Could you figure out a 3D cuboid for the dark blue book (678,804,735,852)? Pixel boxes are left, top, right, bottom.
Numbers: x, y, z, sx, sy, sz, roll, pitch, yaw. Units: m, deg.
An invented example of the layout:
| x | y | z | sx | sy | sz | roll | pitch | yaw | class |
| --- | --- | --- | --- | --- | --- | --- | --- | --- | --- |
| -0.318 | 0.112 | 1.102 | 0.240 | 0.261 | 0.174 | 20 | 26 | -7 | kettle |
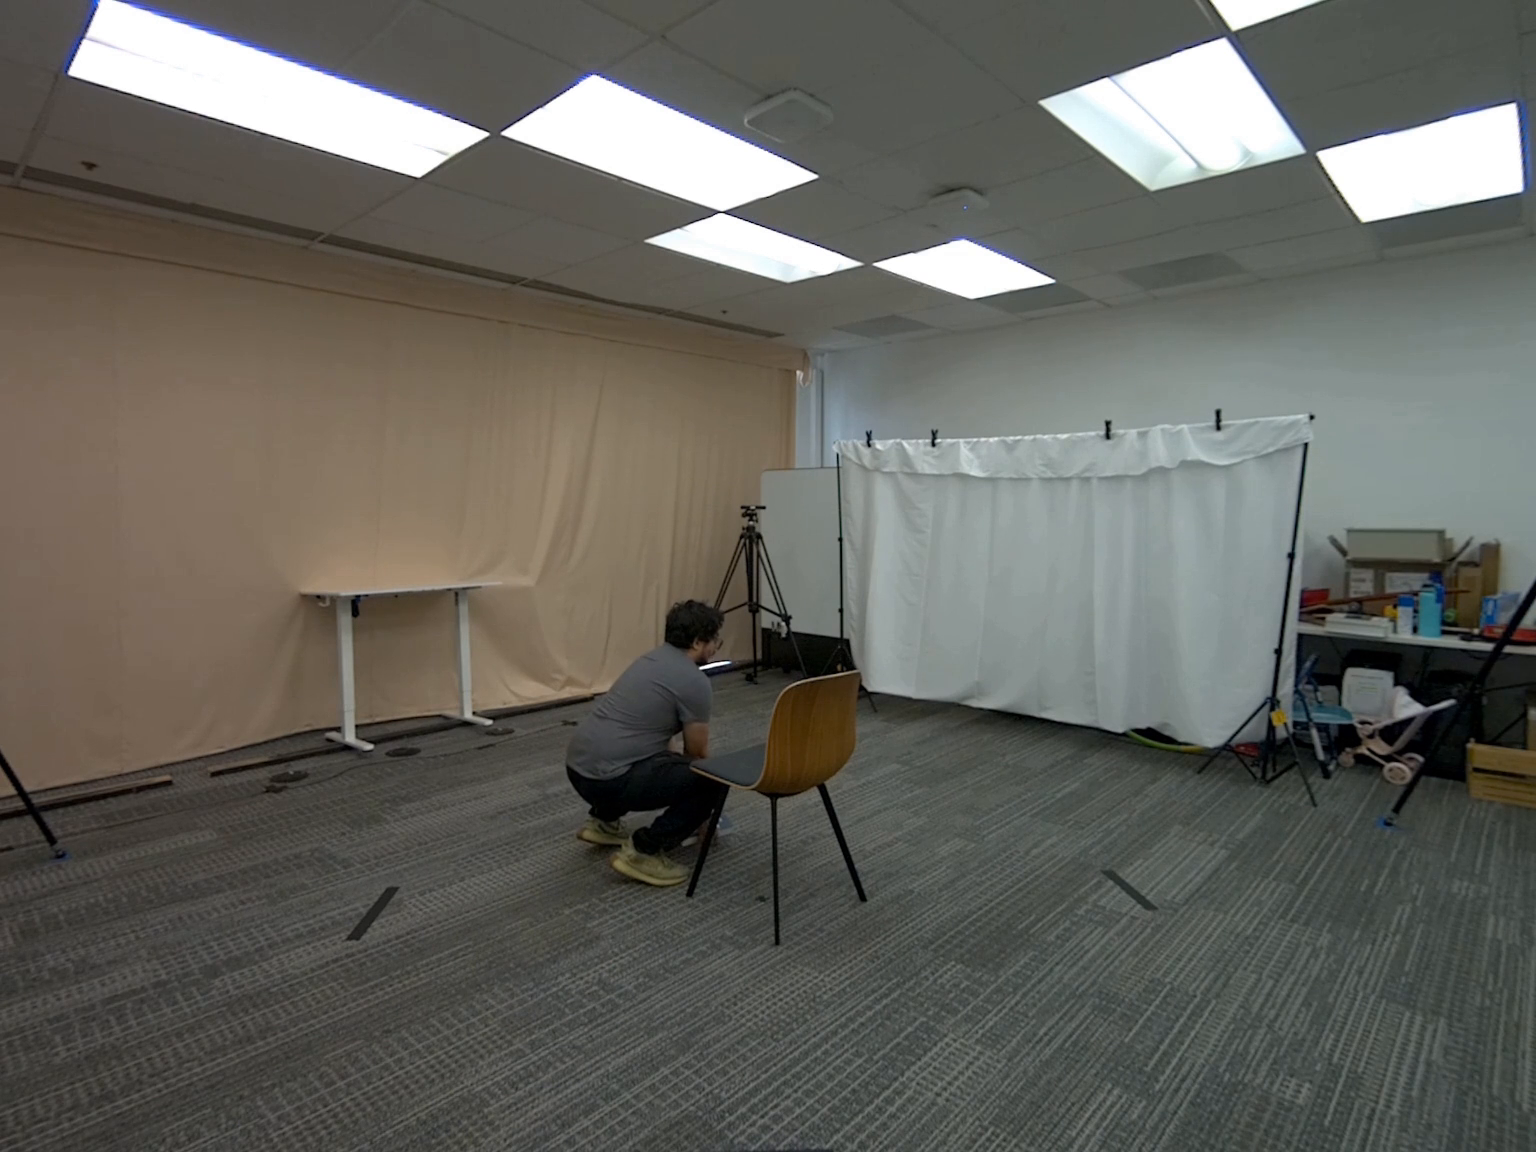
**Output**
| x | y | z | sx | sy | sz | roll | pitch | yaw | class |
| --- | --- | --- | --- | --- | --- | --- | --- | --- | --- |
| -0.284 | 1.013 | 3.435 | 0.238 | 0.045 | 0.169 | -3 | 30 | -36 | dark blue book |
